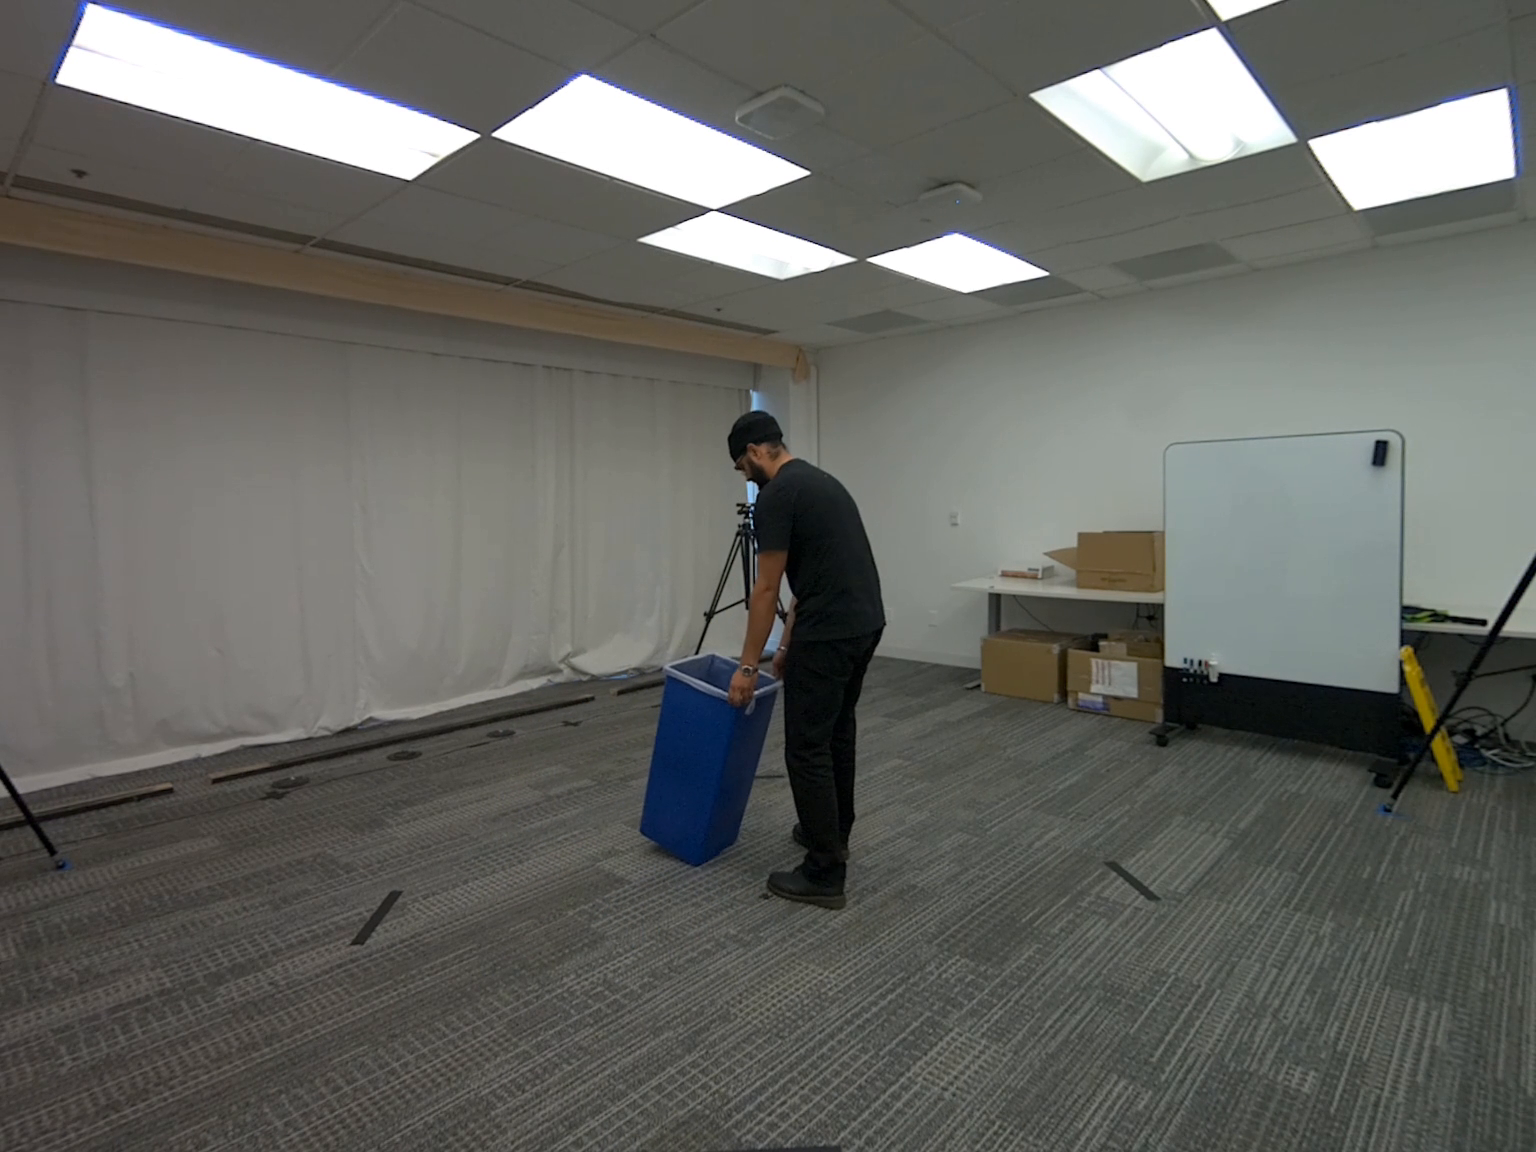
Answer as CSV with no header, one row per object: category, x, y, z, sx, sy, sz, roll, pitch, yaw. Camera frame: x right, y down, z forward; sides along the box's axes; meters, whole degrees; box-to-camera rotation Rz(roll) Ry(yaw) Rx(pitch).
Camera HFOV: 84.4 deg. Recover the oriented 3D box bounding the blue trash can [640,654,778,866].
blue trash can,-0.238,0.726,3.362,0.385,0.710,0.368,18,13,27
